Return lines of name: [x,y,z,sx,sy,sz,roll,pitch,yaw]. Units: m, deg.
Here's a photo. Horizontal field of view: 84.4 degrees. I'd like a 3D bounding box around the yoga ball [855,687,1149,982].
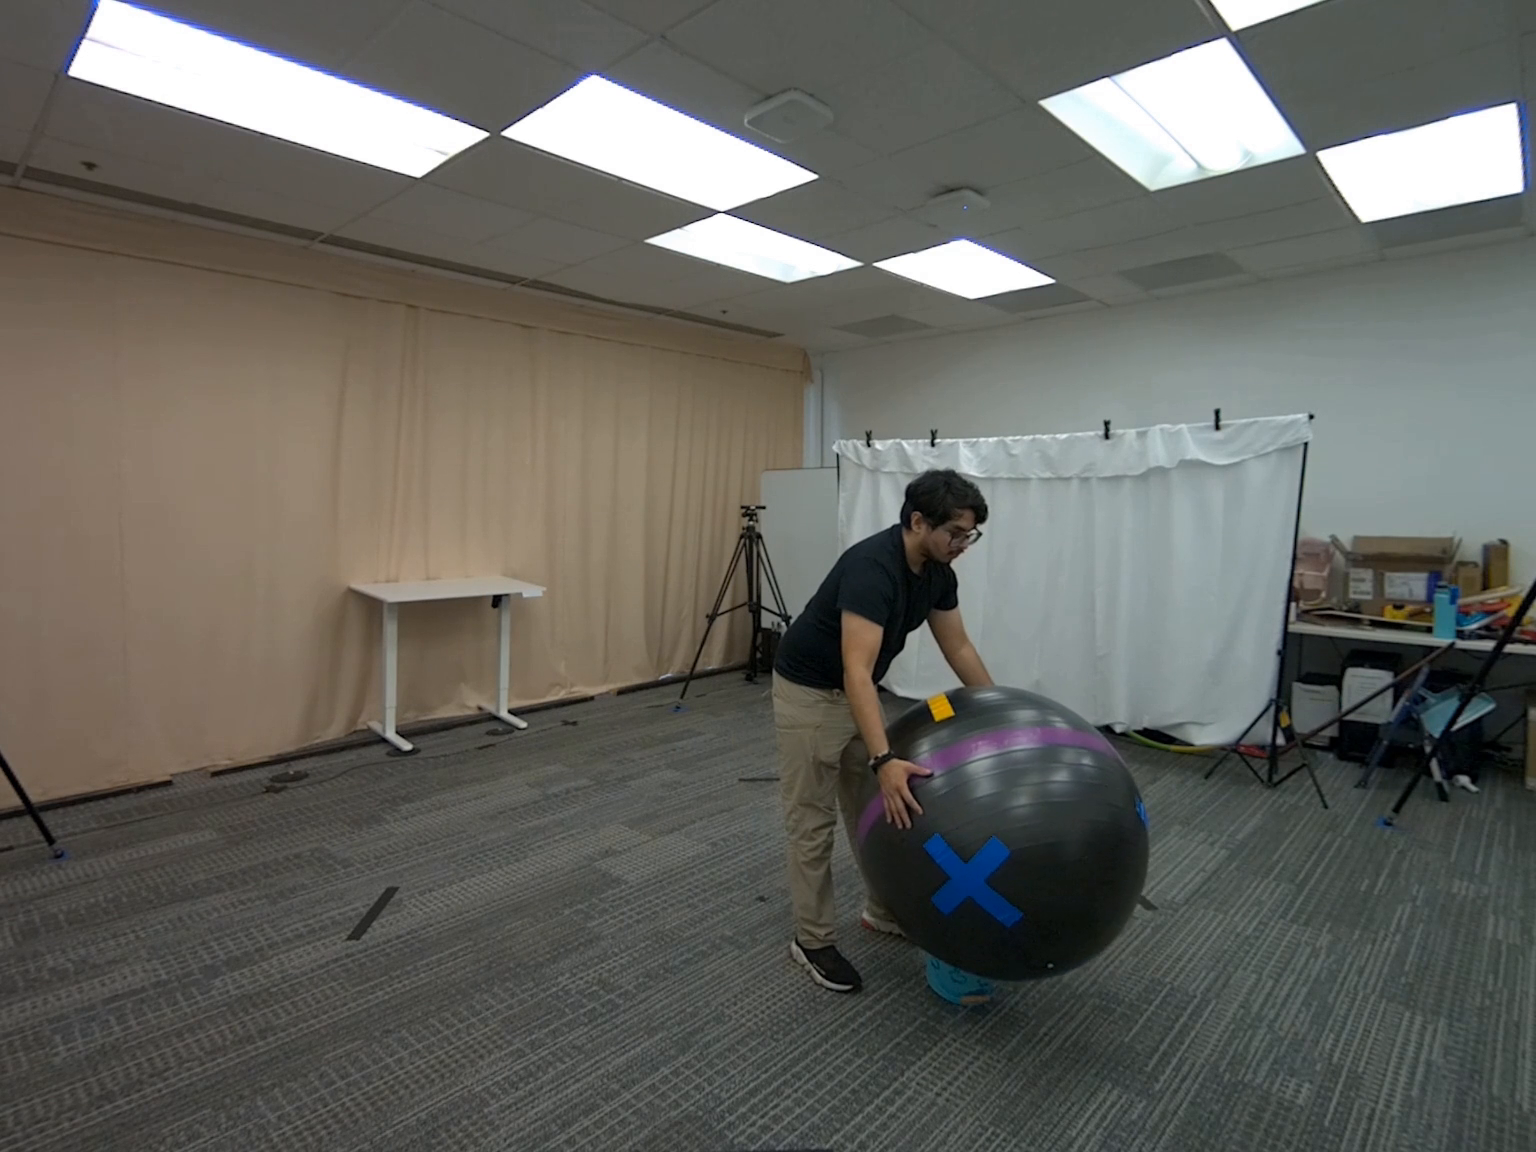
yoga ball: [0.629,0.690,2.294,0.757,0.756,0.760,0,4,-2]
